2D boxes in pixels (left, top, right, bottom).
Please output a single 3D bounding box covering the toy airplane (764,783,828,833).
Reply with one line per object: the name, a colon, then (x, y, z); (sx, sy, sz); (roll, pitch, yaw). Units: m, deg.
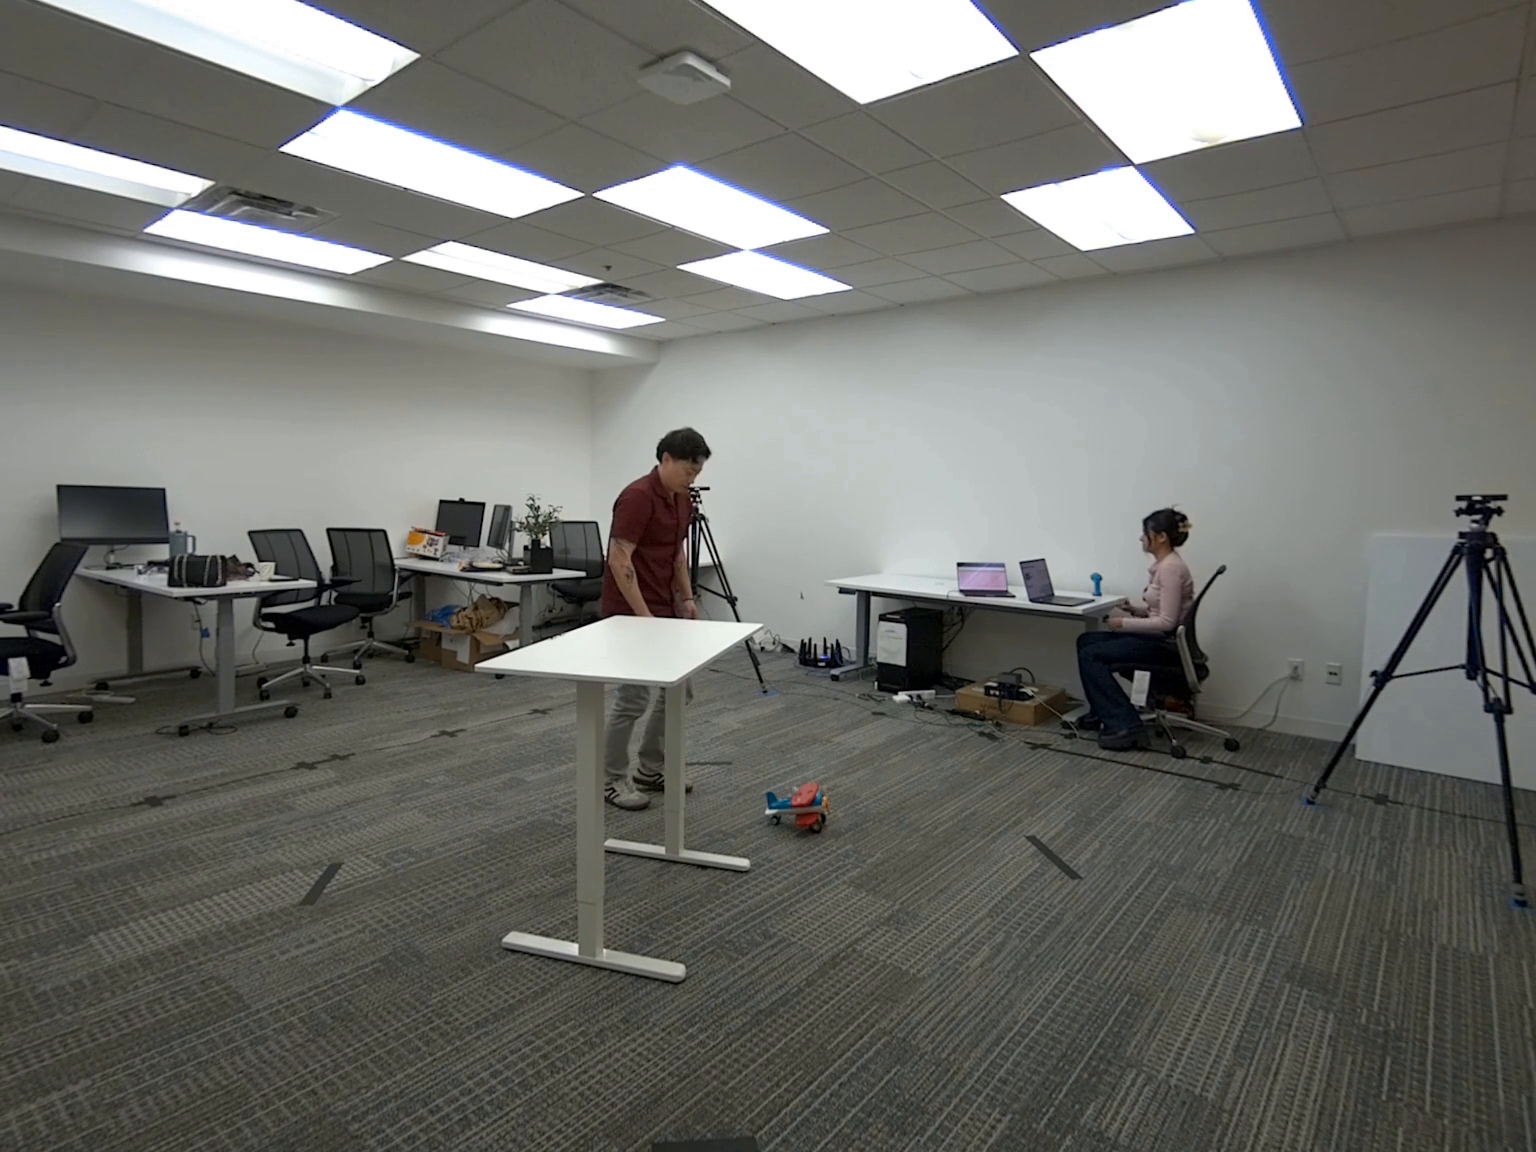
toy airplane: (0.108, 0.963, 3.489); (0.256, 0.156, 0.256); (0, 6, -14)
